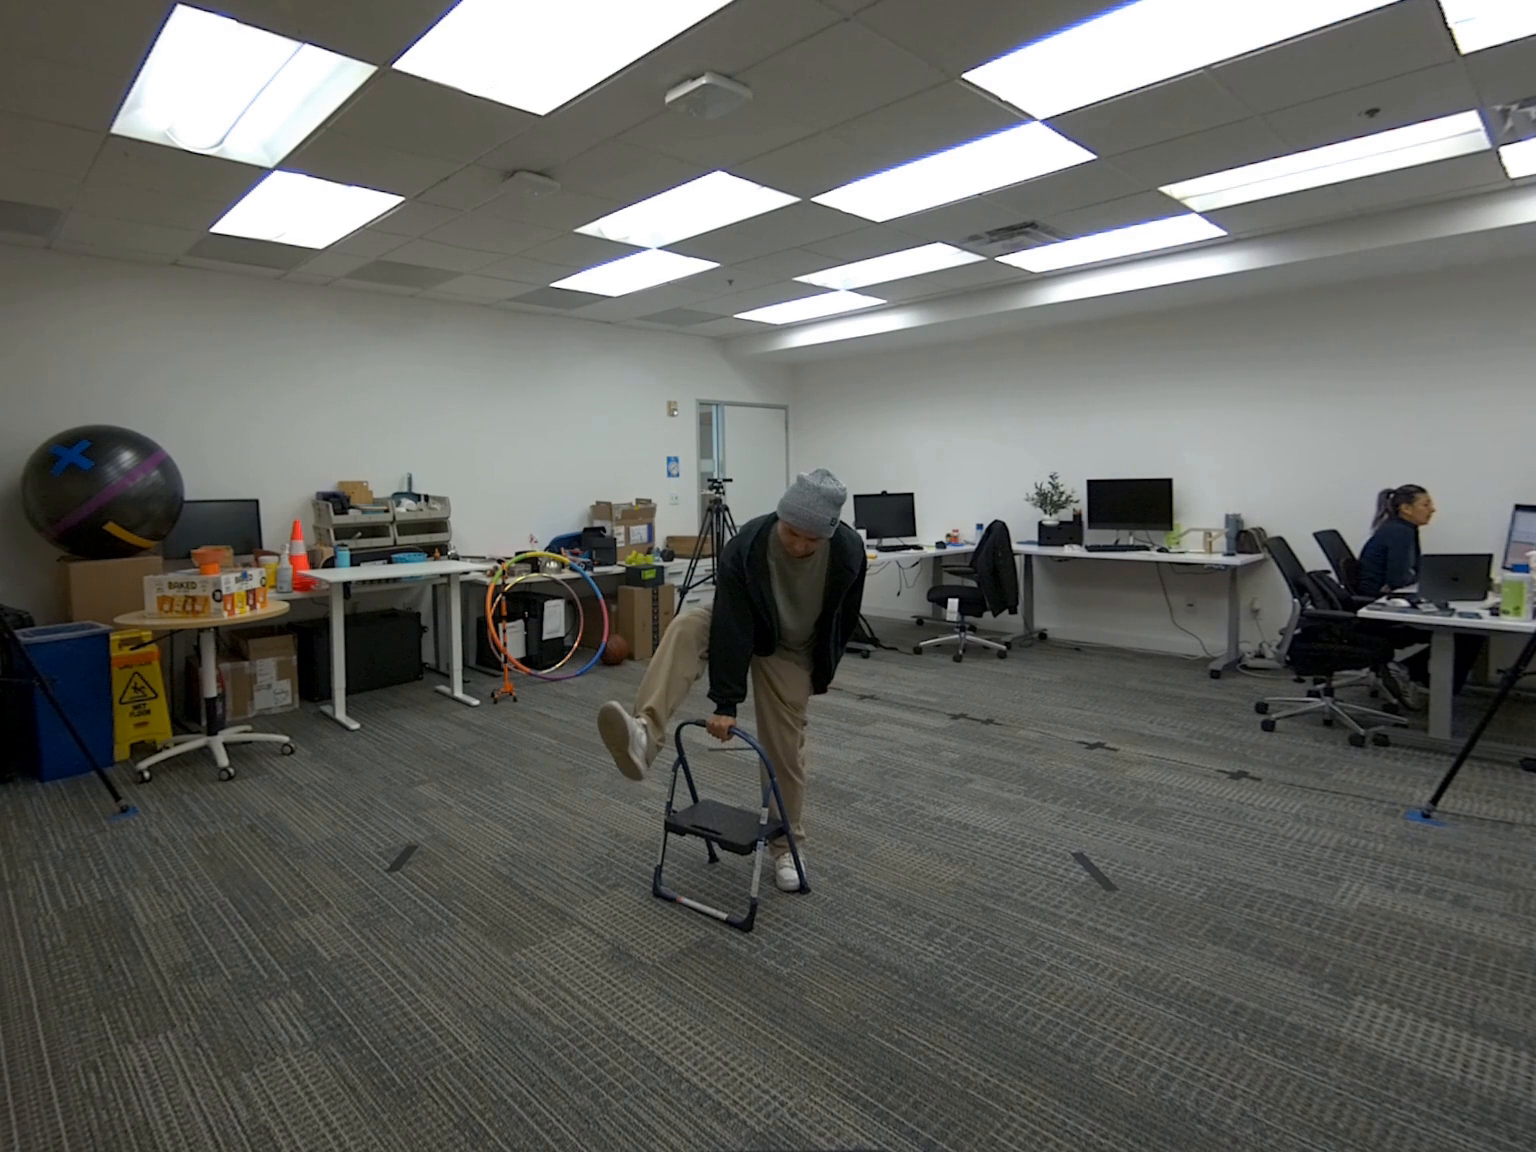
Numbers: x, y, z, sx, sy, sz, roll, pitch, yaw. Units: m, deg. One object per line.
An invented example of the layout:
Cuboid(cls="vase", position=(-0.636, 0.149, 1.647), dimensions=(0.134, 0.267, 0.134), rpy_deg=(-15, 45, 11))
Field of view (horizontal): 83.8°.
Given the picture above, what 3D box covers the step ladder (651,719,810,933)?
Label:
Cuboid(cls="step ladder", position=(-0.132, 0.769, 2.868), dimensions=(0.443, 0.604, 0.340), rpy_deg=(2, 5, 36))
